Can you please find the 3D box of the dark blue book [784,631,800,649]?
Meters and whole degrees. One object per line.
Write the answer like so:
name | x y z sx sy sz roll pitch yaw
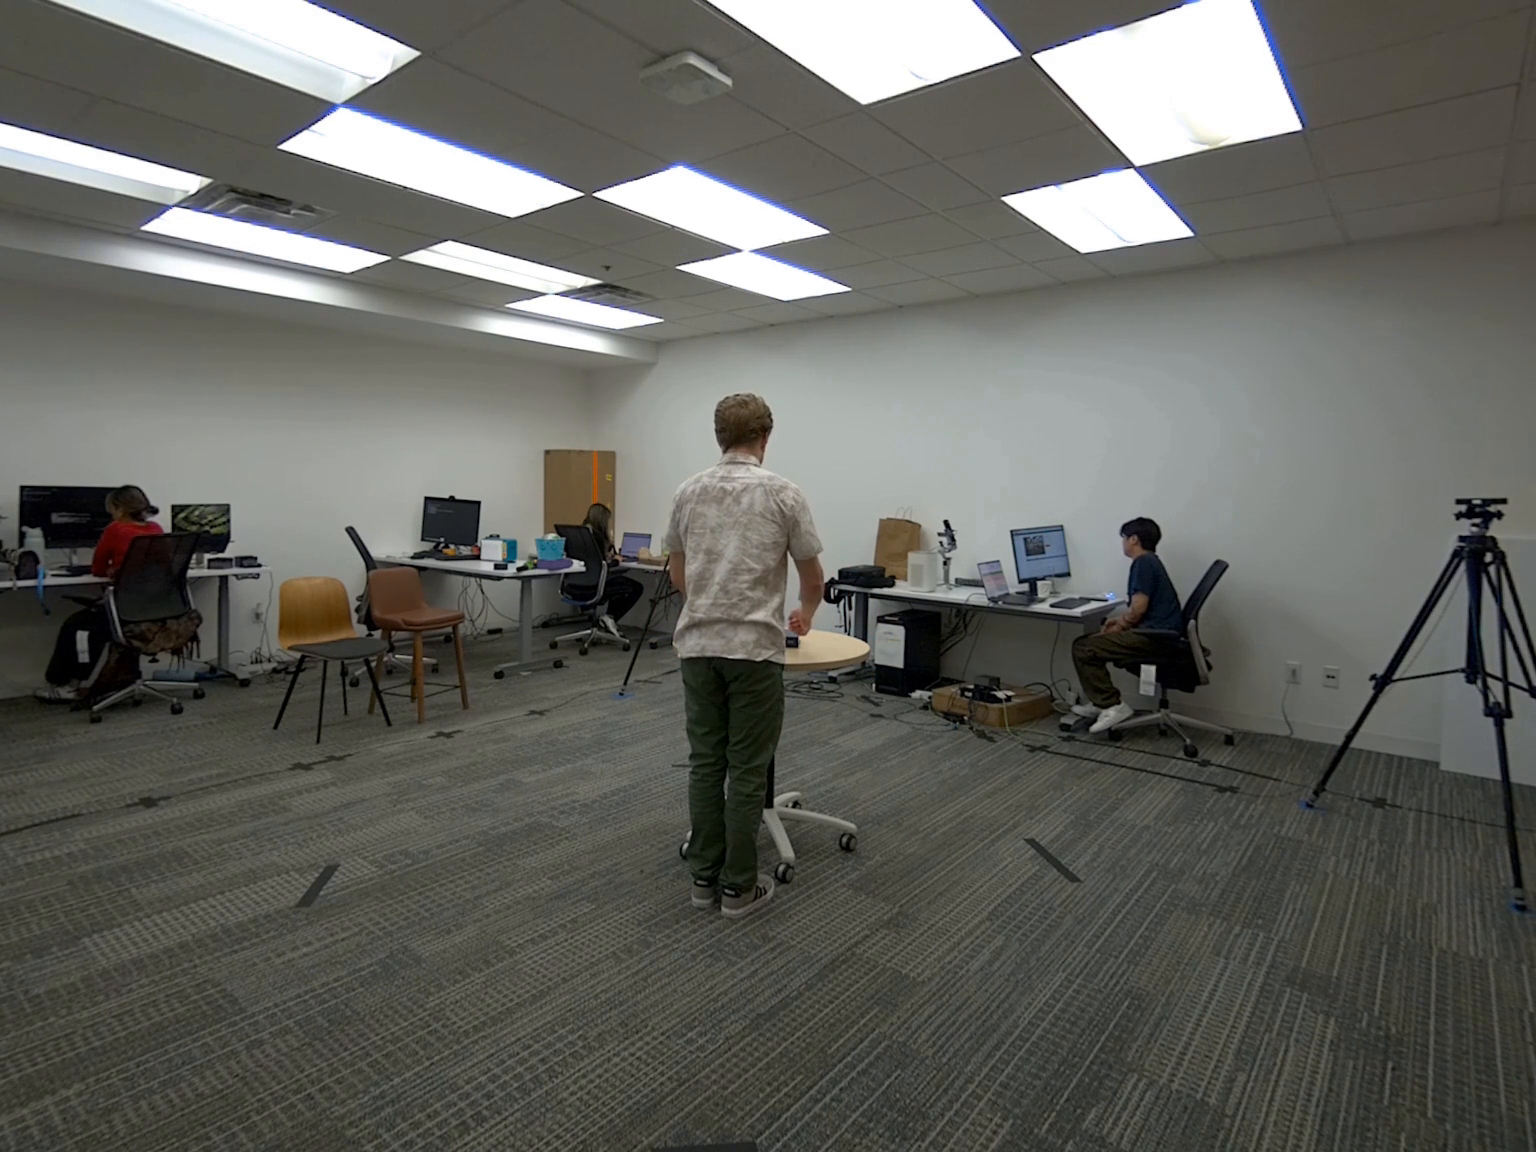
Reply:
dark blue book | -0.004 0.236 3.340 0.247 0.045 0.163 1 6 7
